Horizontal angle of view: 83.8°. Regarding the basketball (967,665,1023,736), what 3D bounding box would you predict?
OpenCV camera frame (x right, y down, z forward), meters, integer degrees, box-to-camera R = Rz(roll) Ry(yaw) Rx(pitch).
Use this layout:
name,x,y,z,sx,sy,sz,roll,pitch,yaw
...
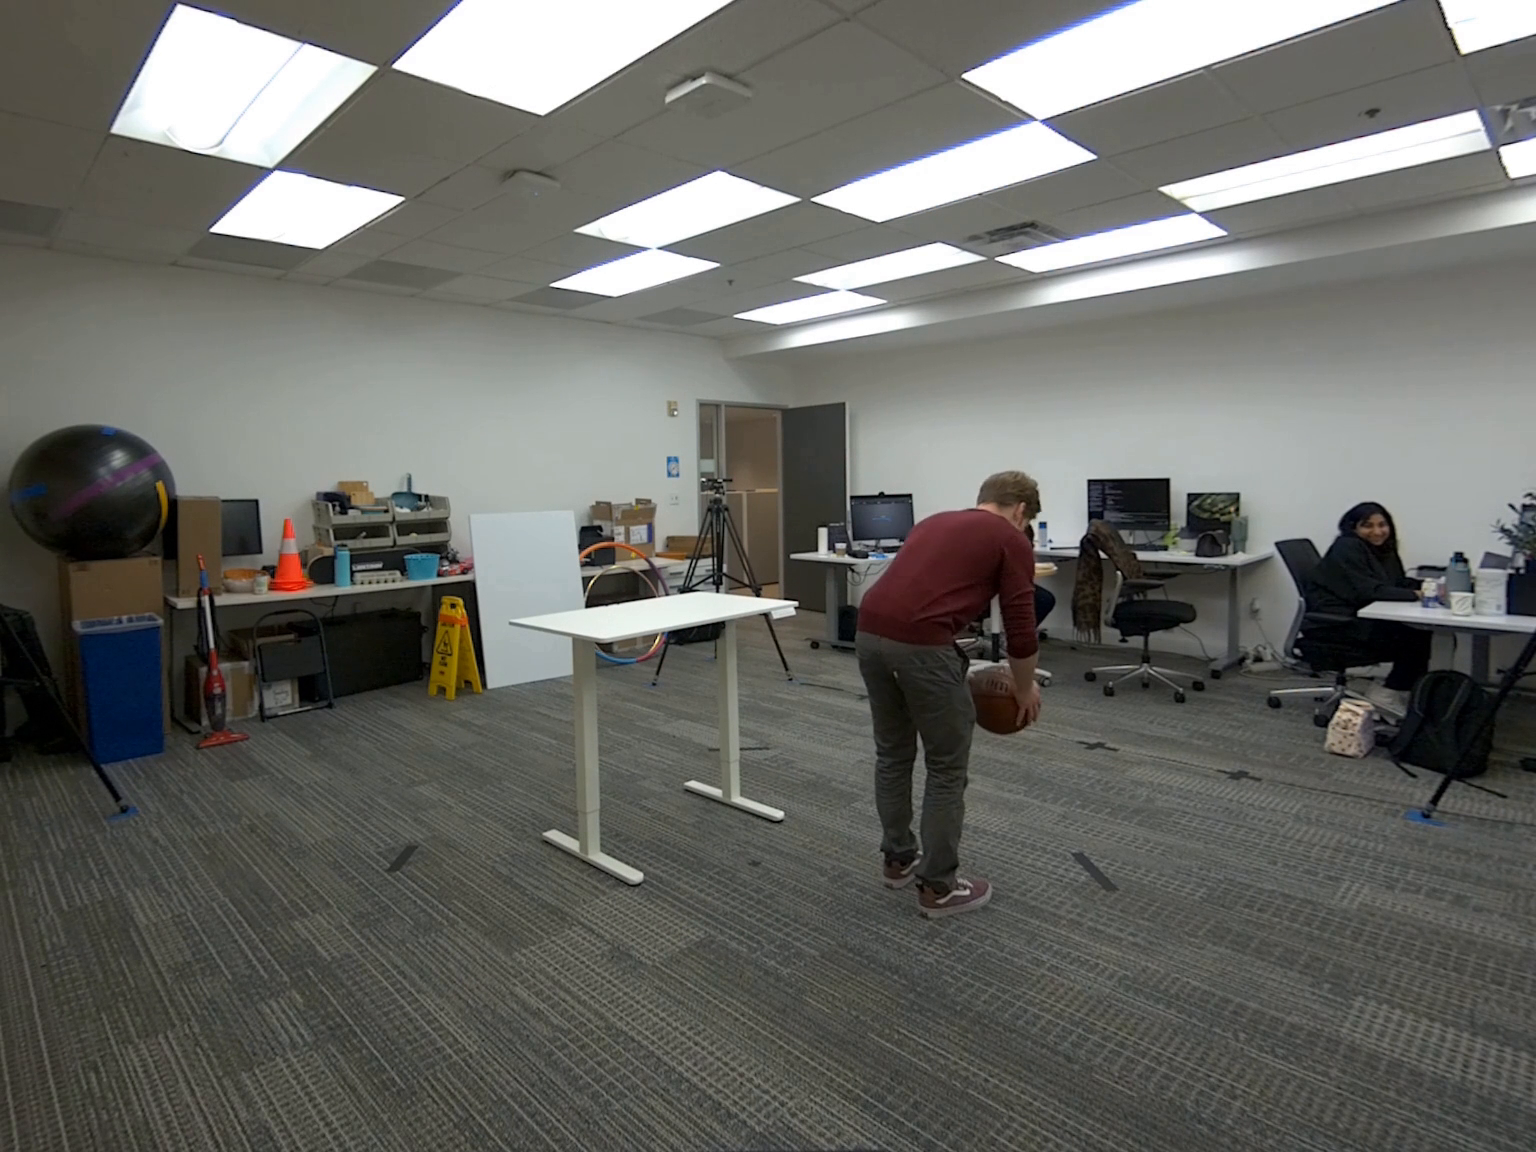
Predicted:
name,x,y,z,sx,sy,sz,roll,pitch,yaw
basketball,0.811,0.431,2.984,0.236,0.235,0.237,-1,5,-2
